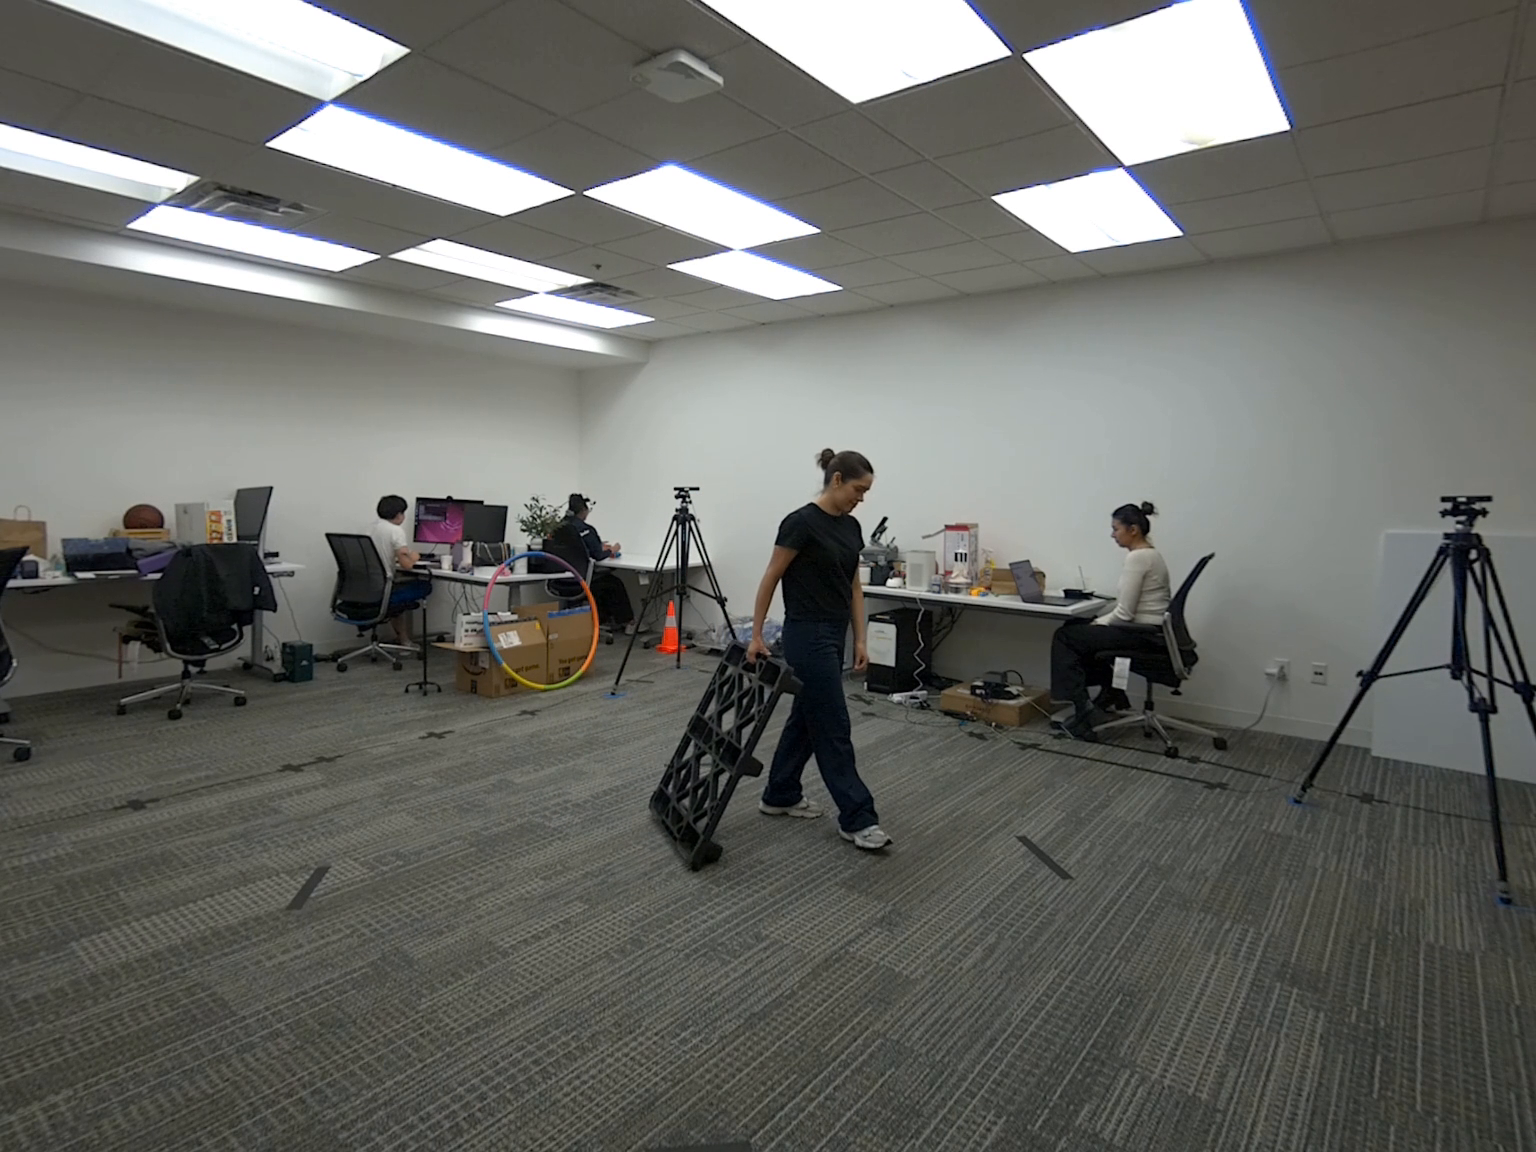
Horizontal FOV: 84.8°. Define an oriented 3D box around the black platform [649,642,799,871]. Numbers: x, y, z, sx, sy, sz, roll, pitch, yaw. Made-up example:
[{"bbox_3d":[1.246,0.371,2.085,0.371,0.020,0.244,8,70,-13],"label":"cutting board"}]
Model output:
[{"bbox_3d":[-0.153,0.678,3.407,0.139,0.807,0.621,29,-5,-23],"label":"black platform"}]
